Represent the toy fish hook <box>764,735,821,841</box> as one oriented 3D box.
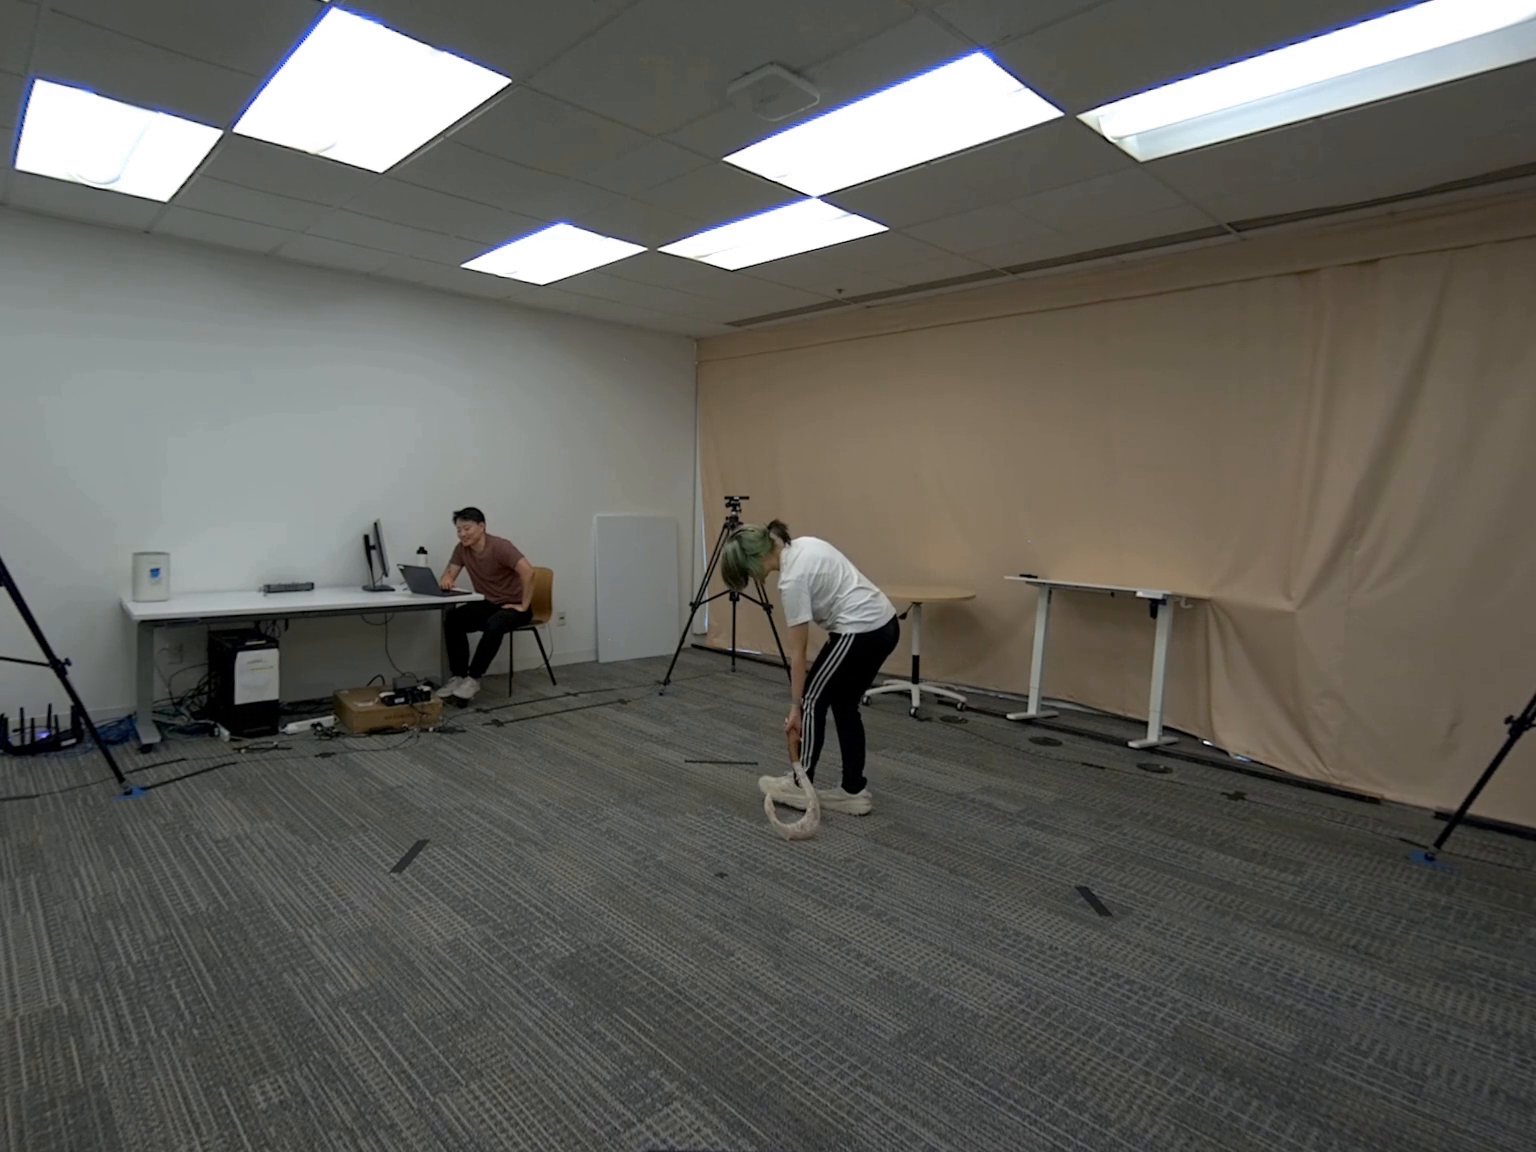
[{"bbox_3d":[0.075,0.848,3.548,0.224,0.517,0.047,-7,-28,-5],"label":"toy fish hook"}]
